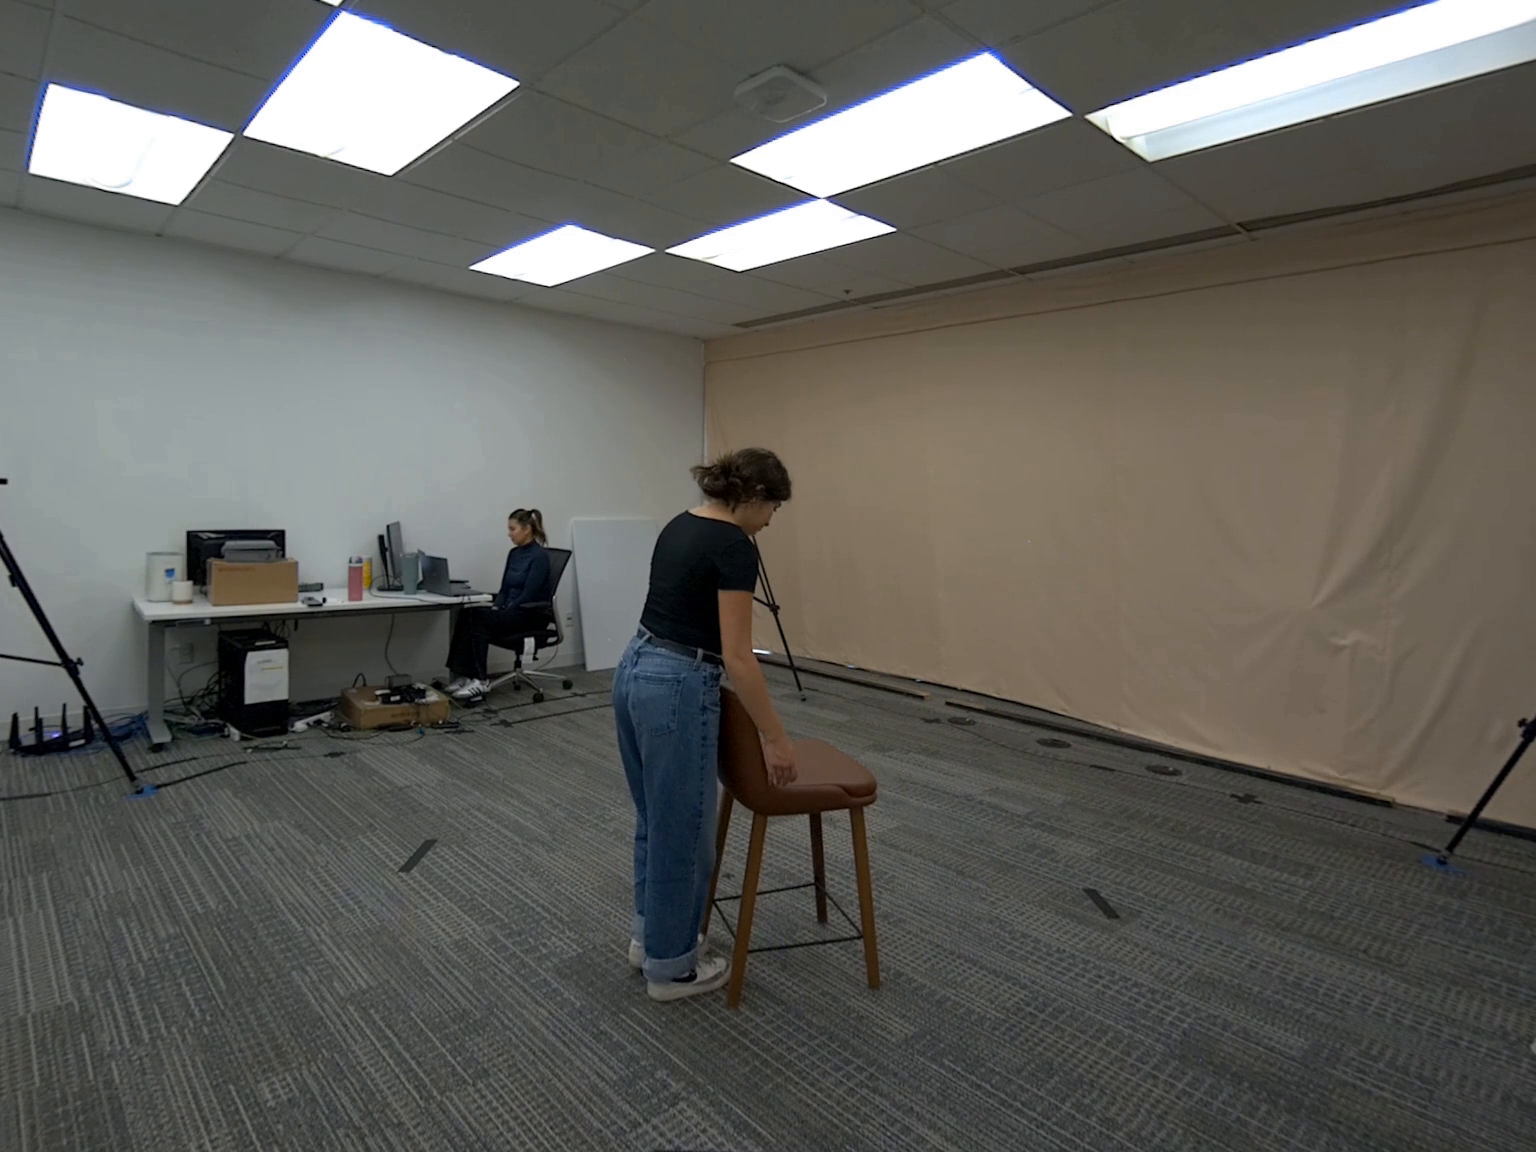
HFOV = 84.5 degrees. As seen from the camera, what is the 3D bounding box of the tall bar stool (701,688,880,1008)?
[{"bbox_3d":[0.045,0.729,2.503,0.461,0.887,0.464,-2,4,-19],"label":"tall bar stool"}]
